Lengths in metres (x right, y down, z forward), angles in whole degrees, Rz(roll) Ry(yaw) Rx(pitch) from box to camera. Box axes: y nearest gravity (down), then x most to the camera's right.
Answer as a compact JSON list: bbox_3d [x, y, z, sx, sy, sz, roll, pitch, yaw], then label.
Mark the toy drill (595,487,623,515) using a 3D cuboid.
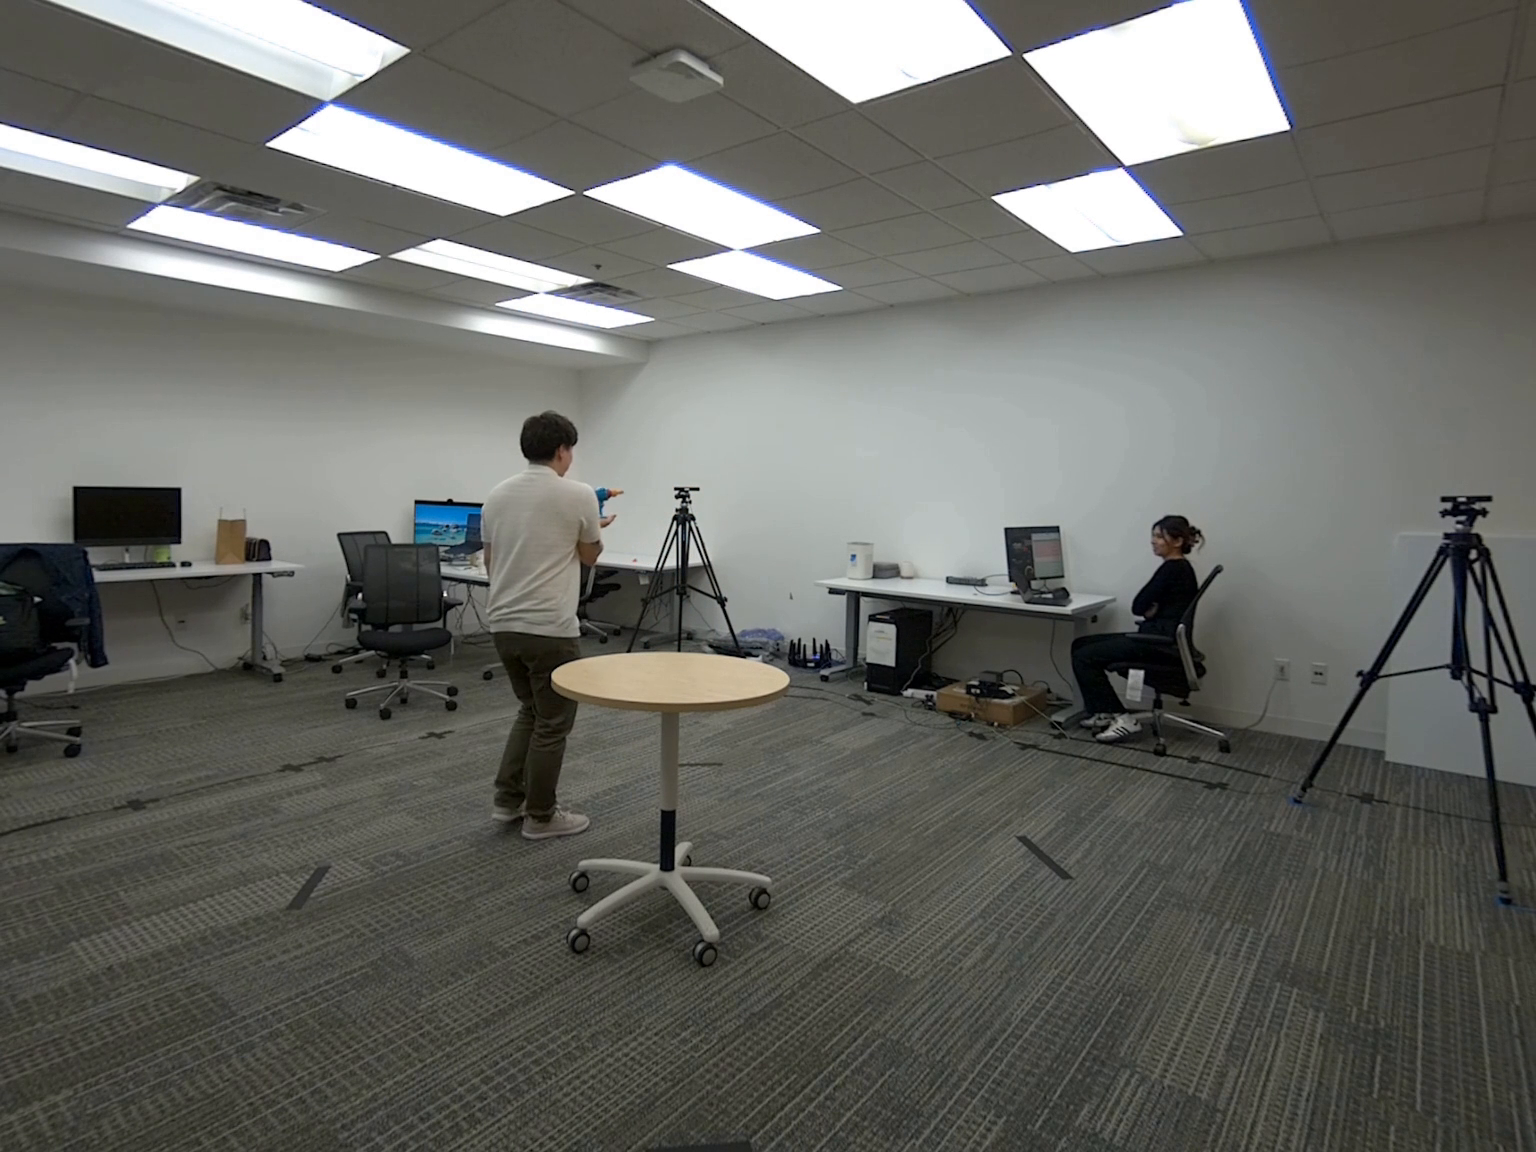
[{"bbox_3d":[-0.715,-0.323,3.716,0.170,0.145,0.061,-7,4,0],"label":"toy drill"}]
